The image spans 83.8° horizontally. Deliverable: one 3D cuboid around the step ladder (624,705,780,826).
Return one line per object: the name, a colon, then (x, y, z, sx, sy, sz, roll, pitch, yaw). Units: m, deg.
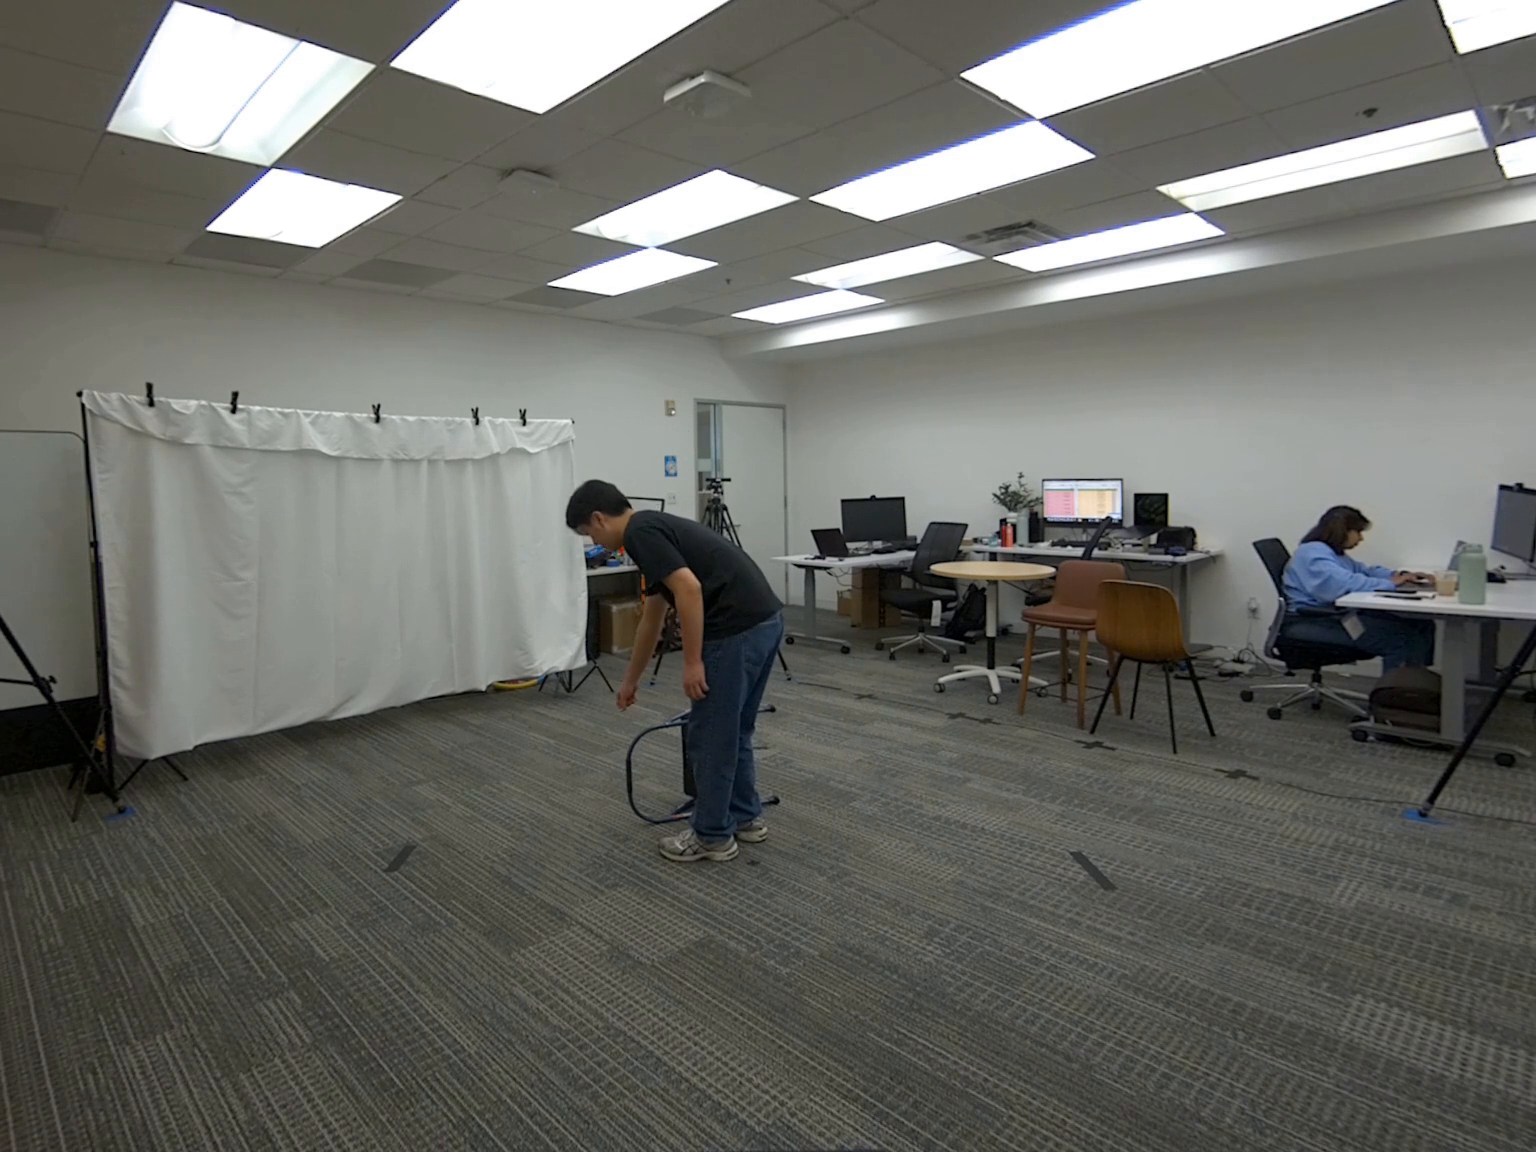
step ladder: (-0.293, 0.783, 3.573, 0.590, 0.429, 0.360, -7, 6, -44)
